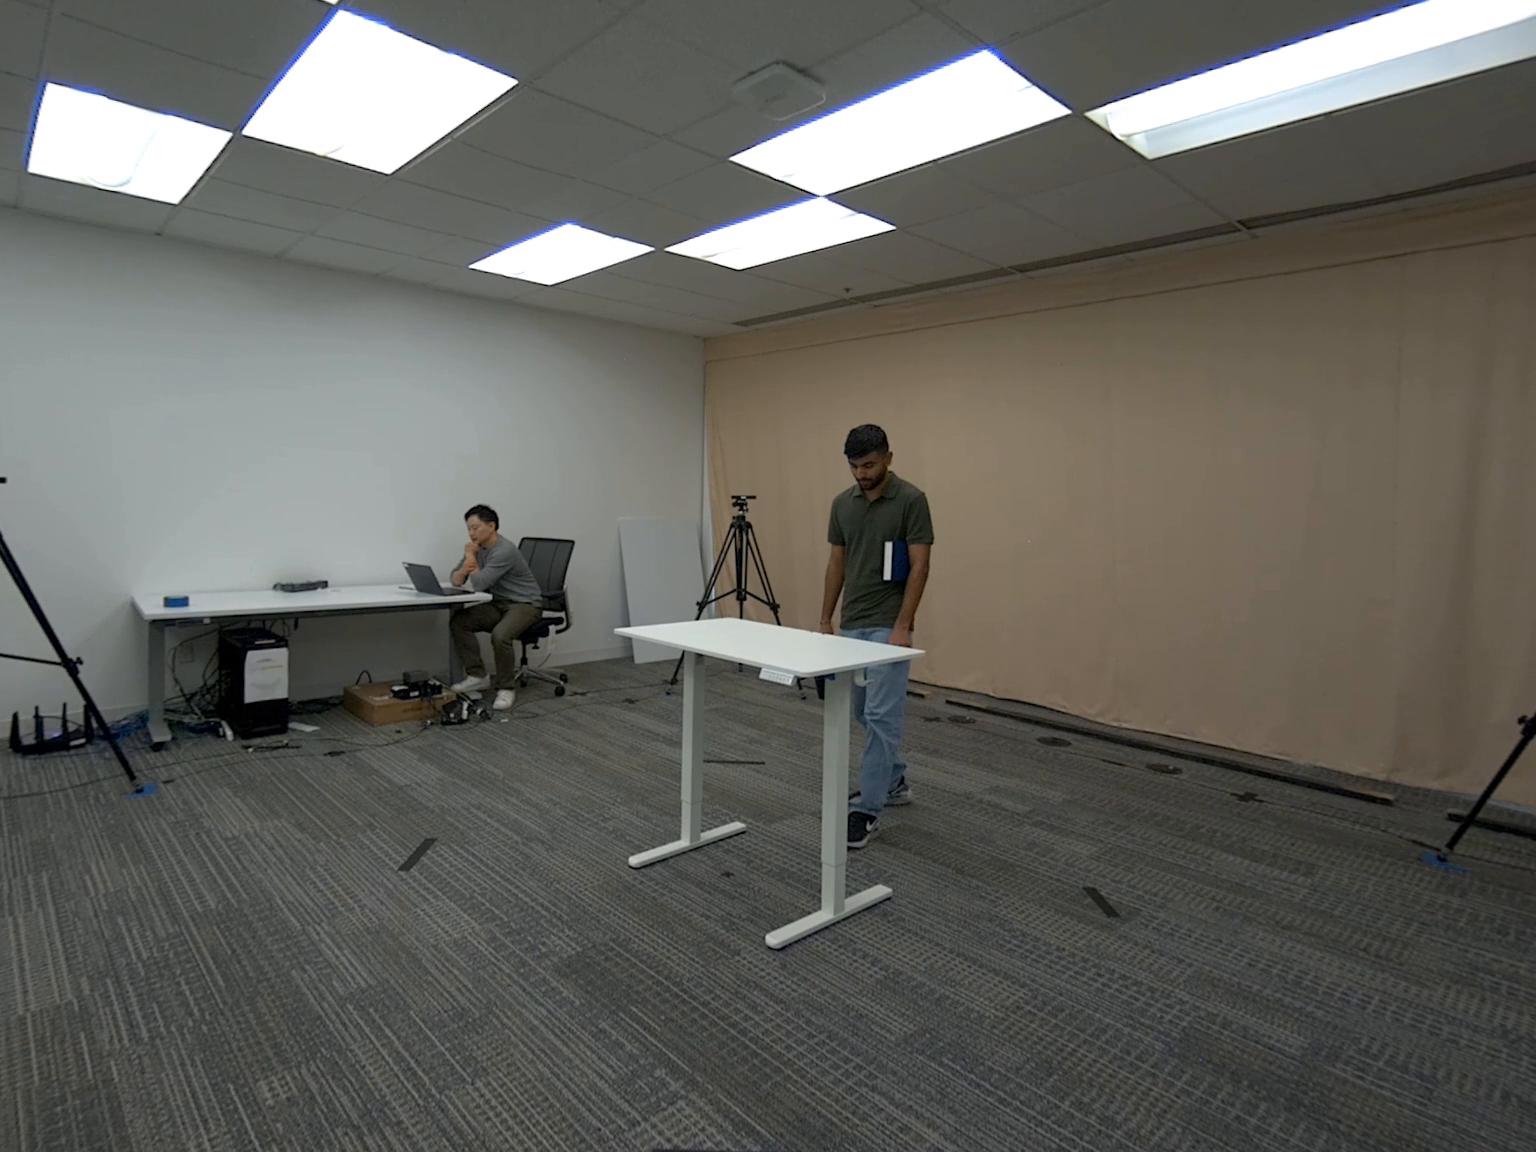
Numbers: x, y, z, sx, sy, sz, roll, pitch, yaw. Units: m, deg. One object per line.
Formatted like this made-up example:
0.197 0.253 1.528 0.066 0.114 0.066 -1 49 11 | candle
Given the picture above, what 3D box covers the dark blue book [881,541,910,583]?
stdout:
0.560 -0.063 3.505 0.239 0.163 0.046 2 1 -45 | dark blue book
